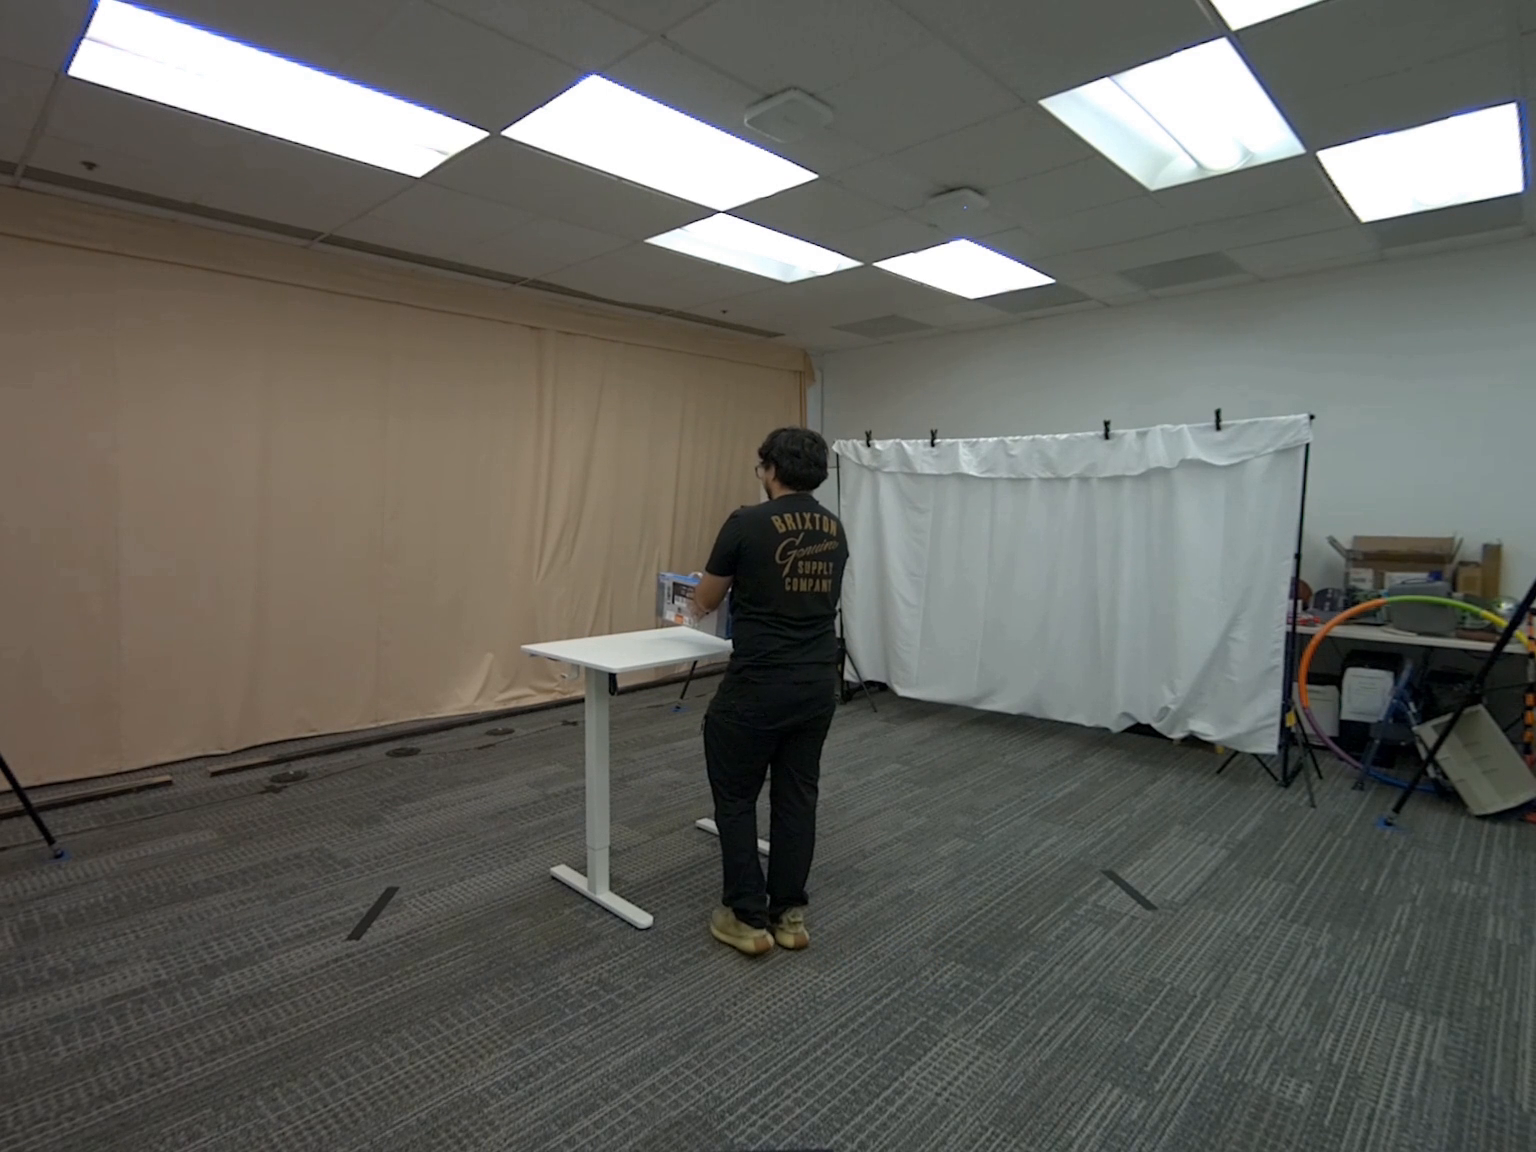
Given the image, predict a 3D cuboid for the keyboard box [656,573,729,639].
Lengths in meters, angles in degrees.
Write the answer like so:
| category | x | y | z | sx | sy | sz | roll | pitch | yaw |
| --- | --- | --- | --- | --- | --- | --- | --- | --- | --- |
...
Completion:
| category | x | y | z | sx | sy | sz | roll | pitch | yaw |
| --- | --- | --- | --- | --- | --- | --- | --- | --- | --- |
| keyboard box | -0.267 | 0.108 | 3.101 | 0.057 | 0.175 | 0.452 | -3 | 11 | -40 |
